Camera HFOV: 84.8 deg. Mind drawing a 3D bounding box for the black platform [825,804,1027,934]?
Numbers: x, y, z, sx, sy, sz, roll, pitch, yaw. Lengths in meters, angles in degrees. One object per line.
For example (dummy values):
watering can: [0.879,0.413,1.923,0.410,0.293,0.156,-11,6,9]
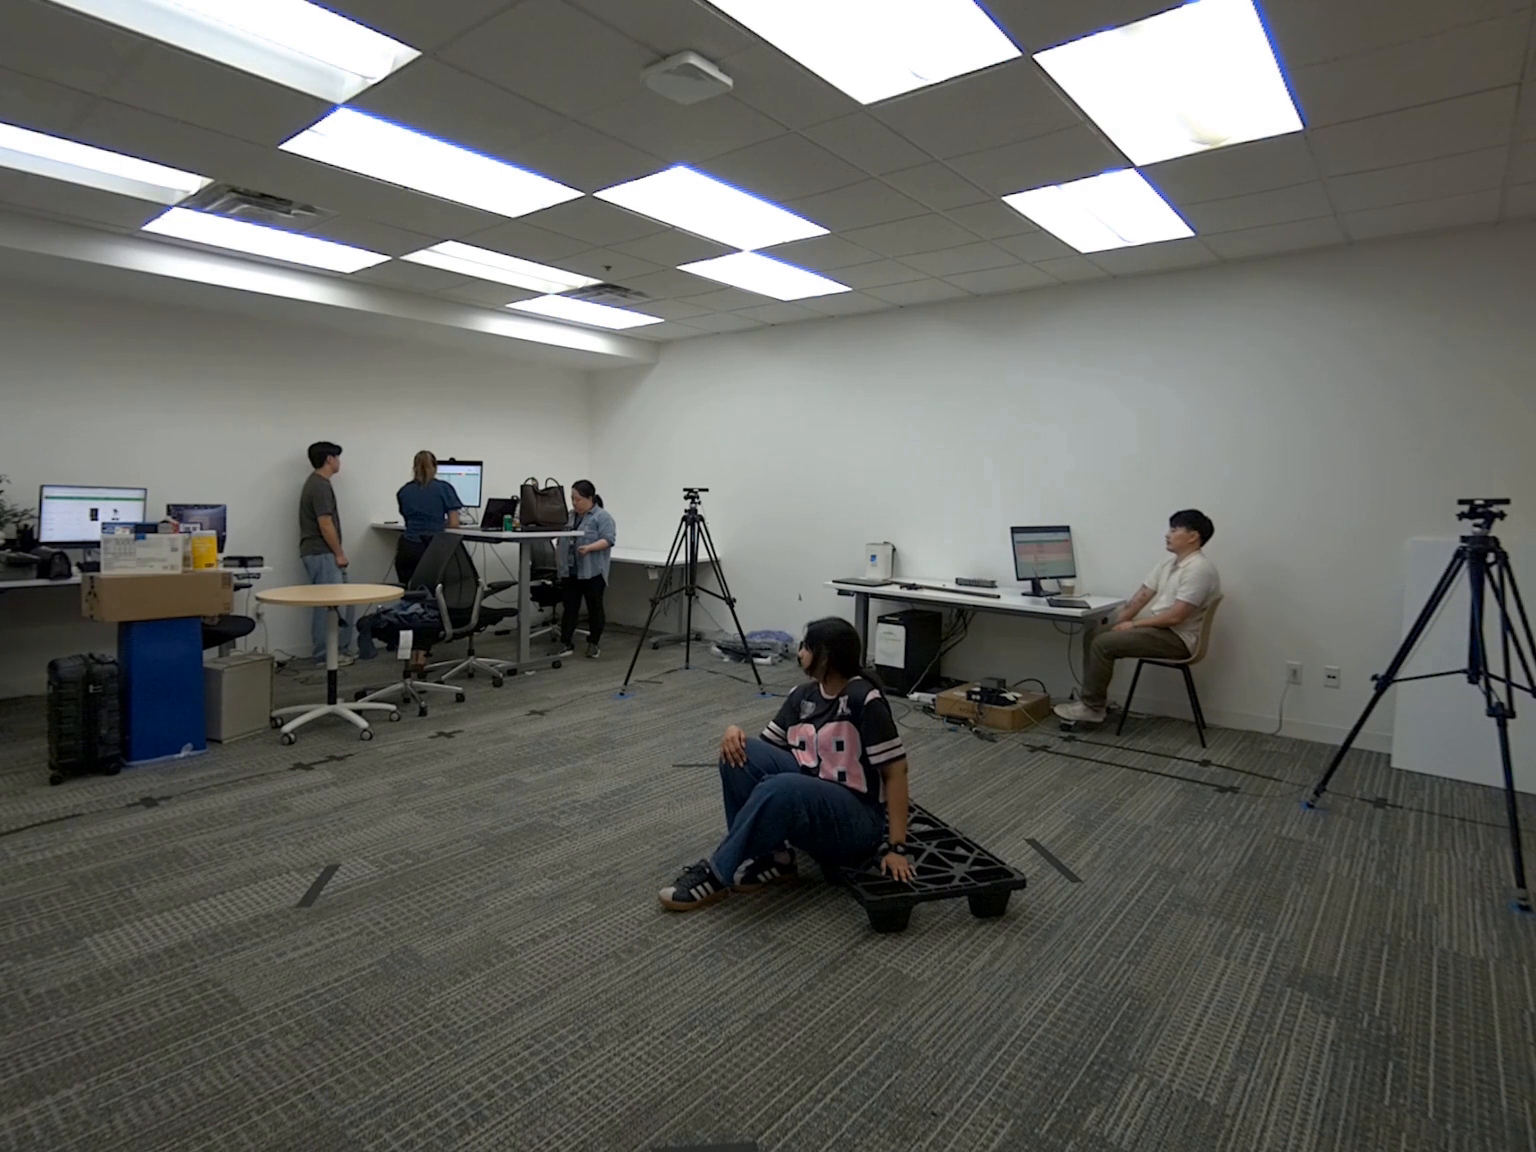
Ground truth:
black platform: [0.431,1.017,3.085,0.594,0.143,0.824,-1,5,-20]
